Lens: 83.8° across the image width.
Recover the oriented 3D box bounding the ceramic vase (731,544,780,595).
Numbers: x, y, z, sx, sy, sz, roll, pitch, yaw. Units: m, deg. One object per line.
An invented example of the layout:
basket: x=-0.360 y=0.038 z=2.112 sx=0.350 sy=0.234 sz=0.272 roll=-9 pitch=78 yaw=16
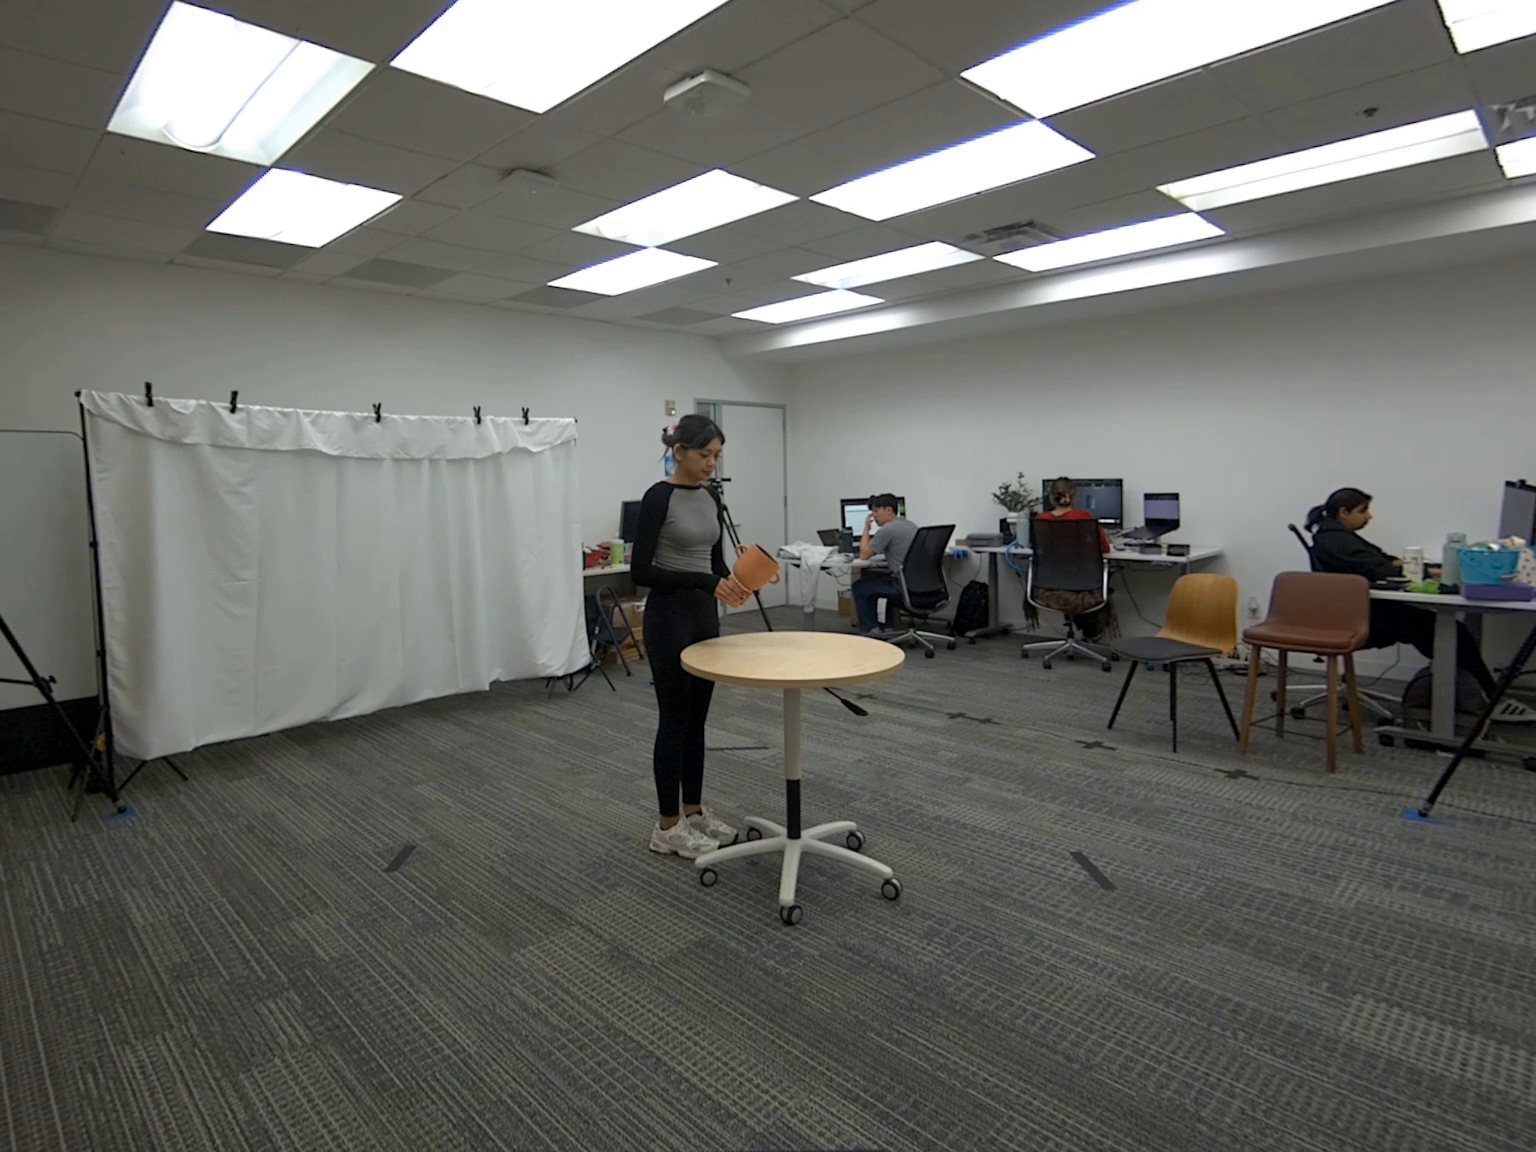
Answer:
ceramic vase: x=-0.076 y=0.004 z=3.057 sx=0.164 sy=0.220 sz=0.130 roll=48 pitch=11 yaw=29
